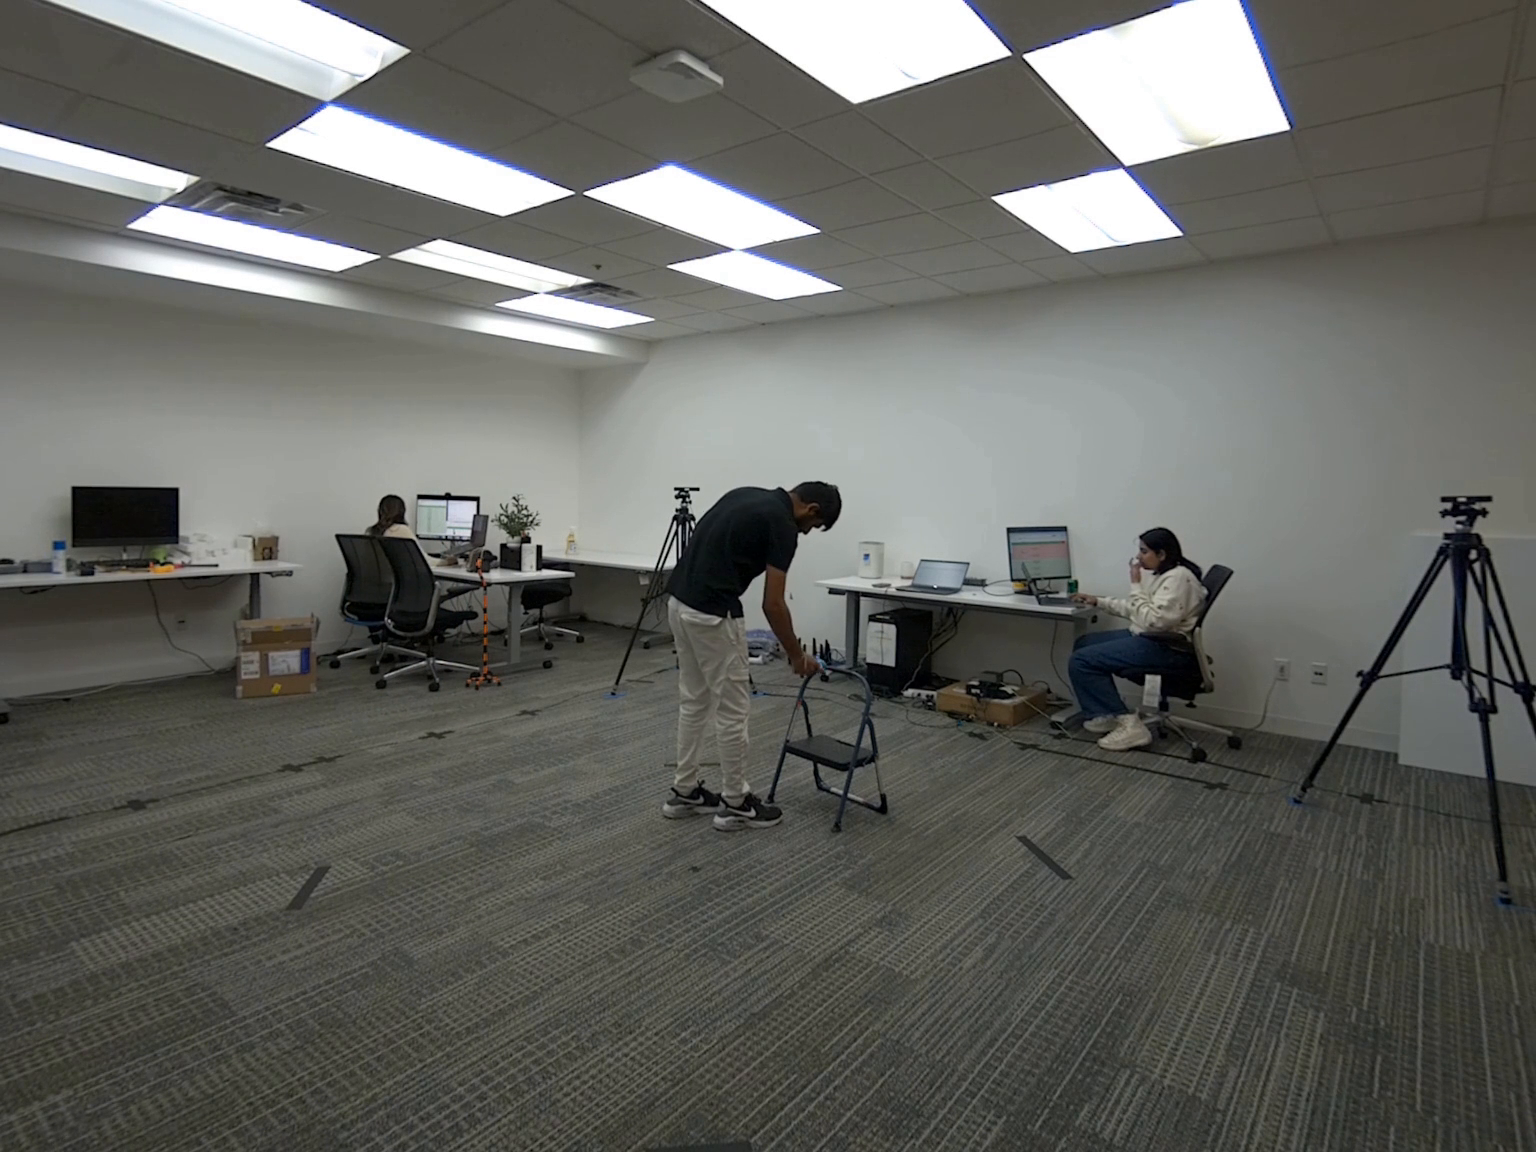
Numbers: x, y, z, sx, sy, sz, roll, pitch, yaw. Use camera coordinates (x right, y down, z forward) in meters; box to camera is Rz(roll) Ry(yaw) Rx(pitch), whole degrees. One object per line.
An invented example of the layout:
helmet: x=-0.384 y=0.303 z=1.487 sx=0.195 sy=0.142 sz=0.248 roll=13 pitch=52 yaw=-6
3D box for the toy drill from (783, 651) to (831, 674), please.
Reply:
toy drill: x=0.162 y=0.362 z=3.576 sx=0.144 sy=0.061 sz=0.170 roll=15 pitch=-11 yaw=-9
